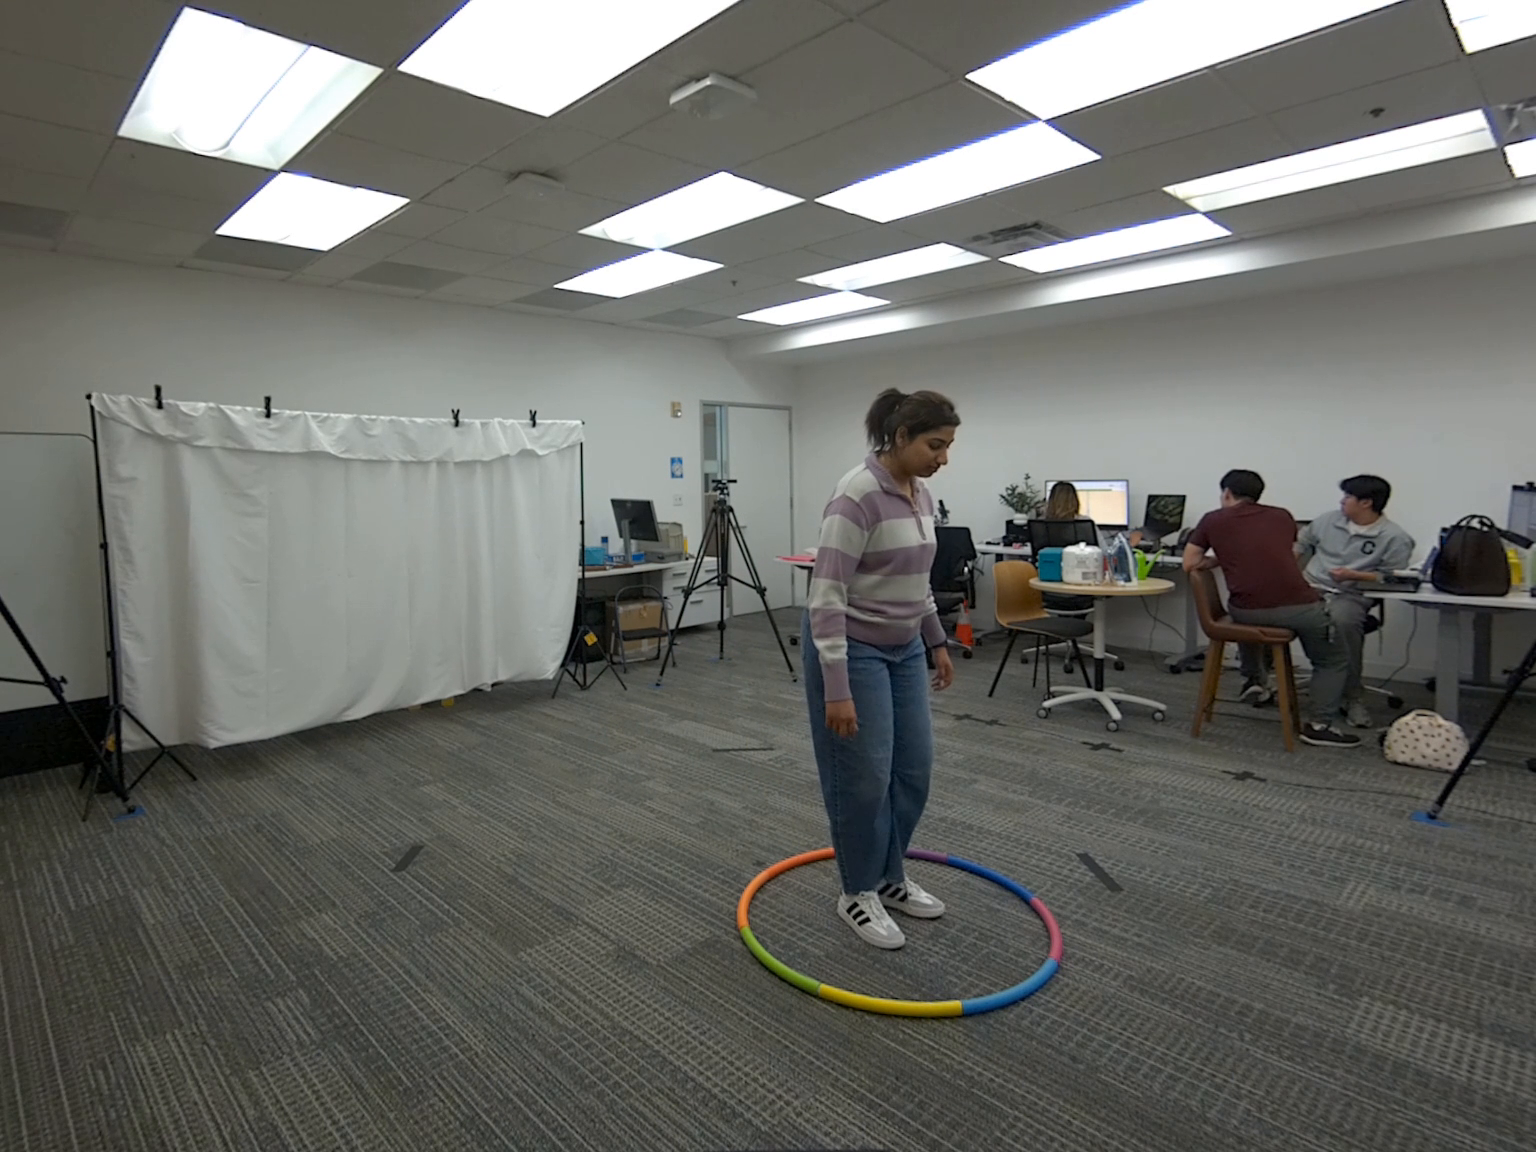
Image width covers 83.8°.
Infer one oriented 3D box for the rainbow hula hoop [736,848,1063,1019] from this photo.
[{"bbox_3d":[0.393,1.058,2.689,0.978,0.035,0.984,-1,7,-2],"label":"rainbow hula hoop"}]
